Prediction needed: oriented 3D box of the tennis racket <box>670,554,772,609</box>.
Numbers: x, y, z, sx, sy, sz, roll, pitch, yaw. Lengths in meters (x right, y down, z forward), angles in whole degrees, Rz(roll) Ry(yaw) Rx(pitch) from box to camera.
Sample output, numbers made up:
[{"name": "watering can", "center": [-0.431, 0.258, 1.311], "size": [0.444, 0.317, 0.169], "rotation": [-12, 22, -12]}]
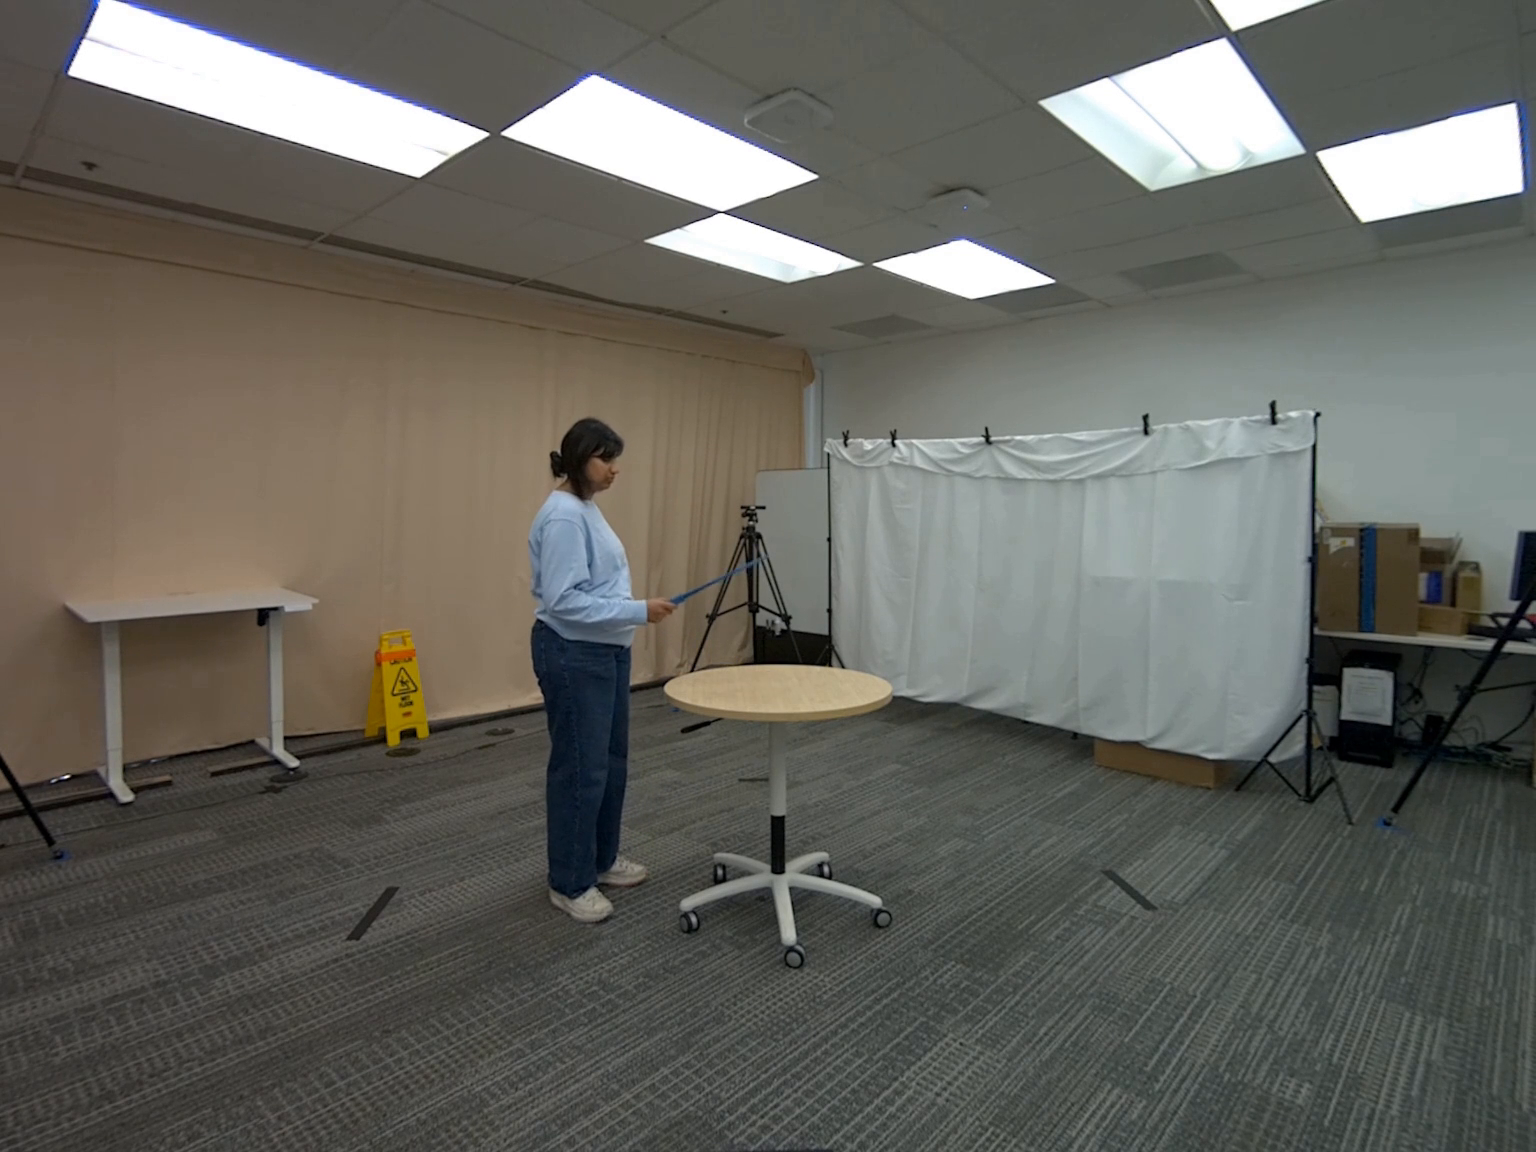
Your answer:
[{"name": "tennis racket", "center": [-0.205, 0.040, 2.765], "size": [0.436, 0.032, 0.212], "rotation": [-25, 1, 11]}]
